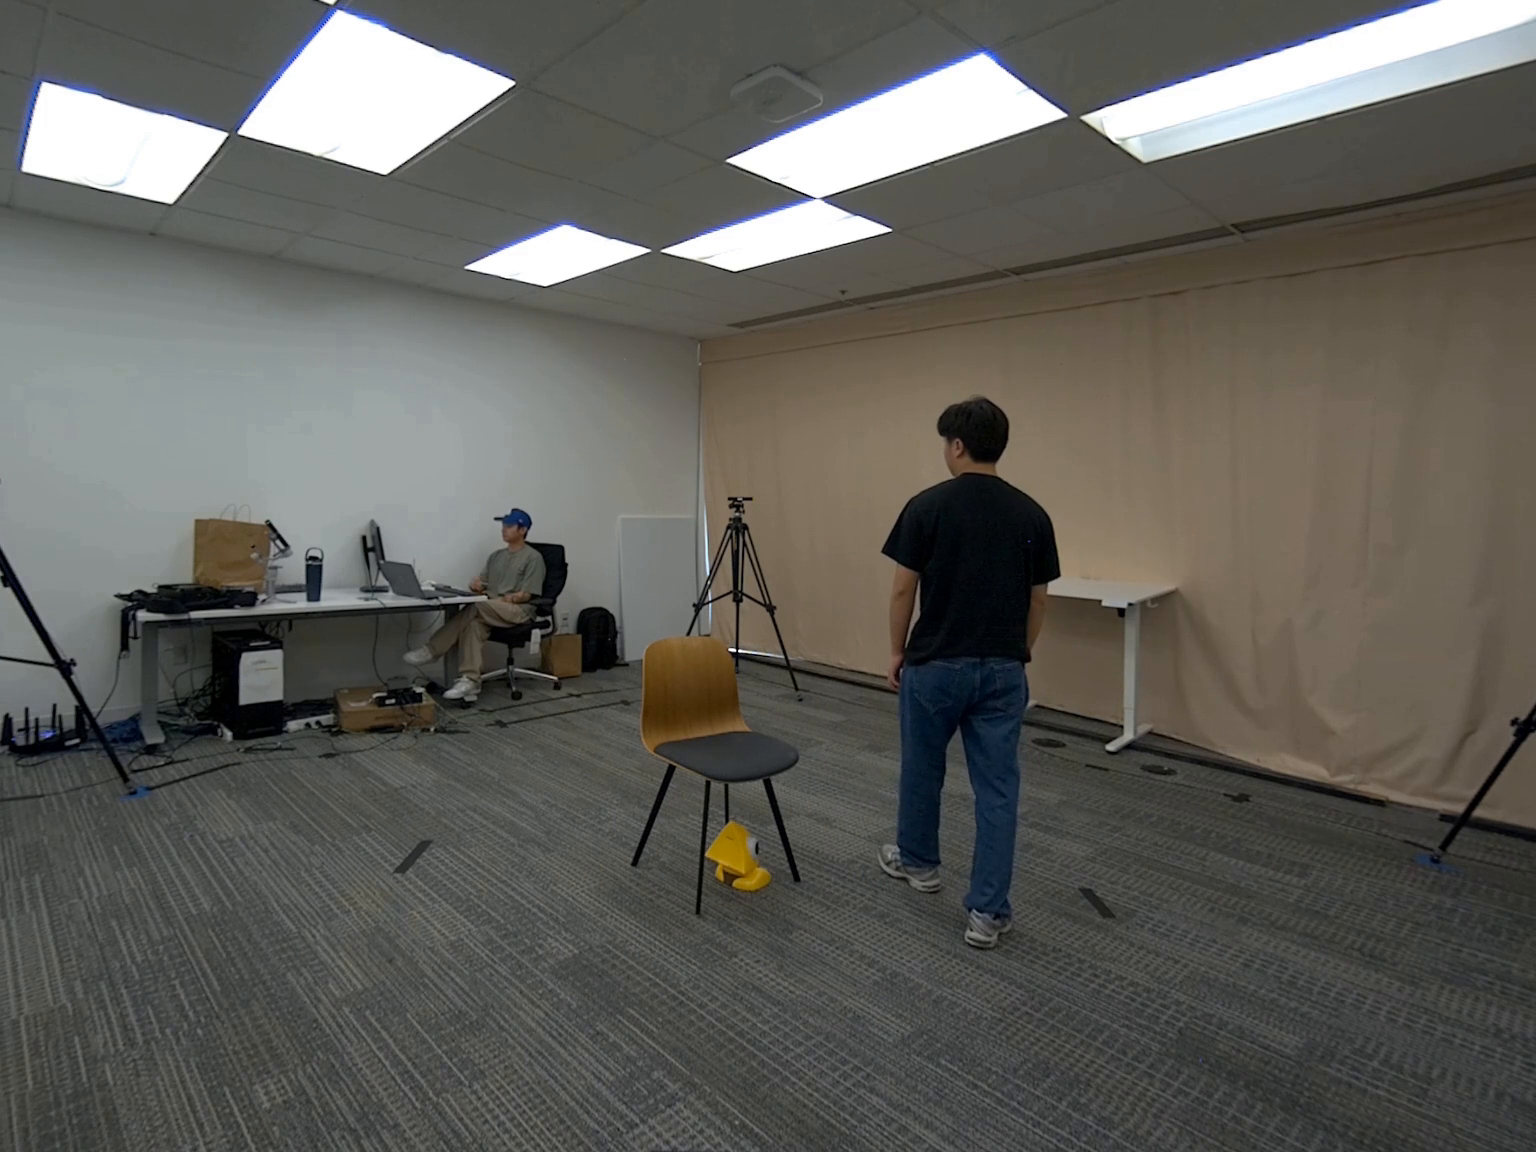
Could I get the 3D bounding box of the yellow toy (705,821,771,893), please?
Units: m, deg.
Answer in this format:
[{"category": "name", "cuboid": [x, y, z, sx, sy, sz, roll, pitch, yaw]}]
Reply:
[{"category": "yellow toy", "cuboid": [-0.099, 0.989, 3.086, 0.210, 0.230, 0.188, 4, 4, 45]}]
